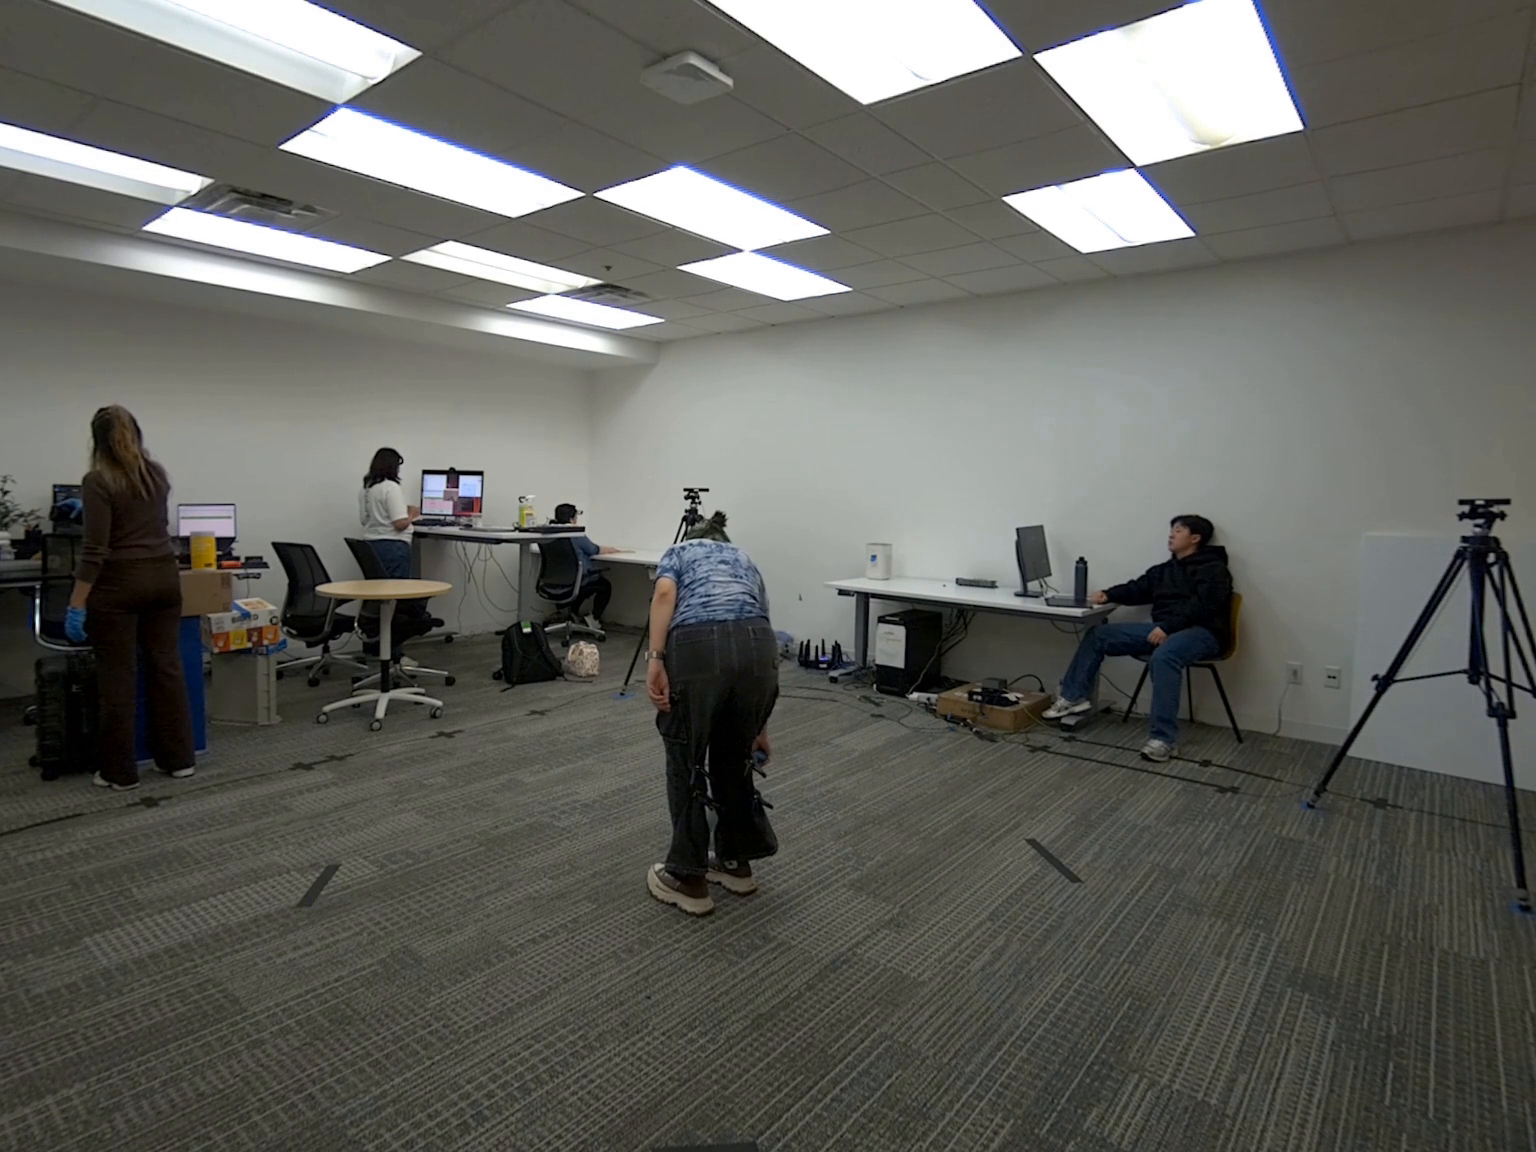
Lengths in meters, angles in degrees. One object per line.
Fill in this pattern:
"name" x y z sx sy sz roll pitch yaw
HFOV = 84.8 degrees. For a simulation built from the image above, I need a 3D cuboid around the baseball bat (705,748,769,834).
"baseball bat" -0.172 0.833 3.224 0.087 0.540 0.091 22 37 -19
